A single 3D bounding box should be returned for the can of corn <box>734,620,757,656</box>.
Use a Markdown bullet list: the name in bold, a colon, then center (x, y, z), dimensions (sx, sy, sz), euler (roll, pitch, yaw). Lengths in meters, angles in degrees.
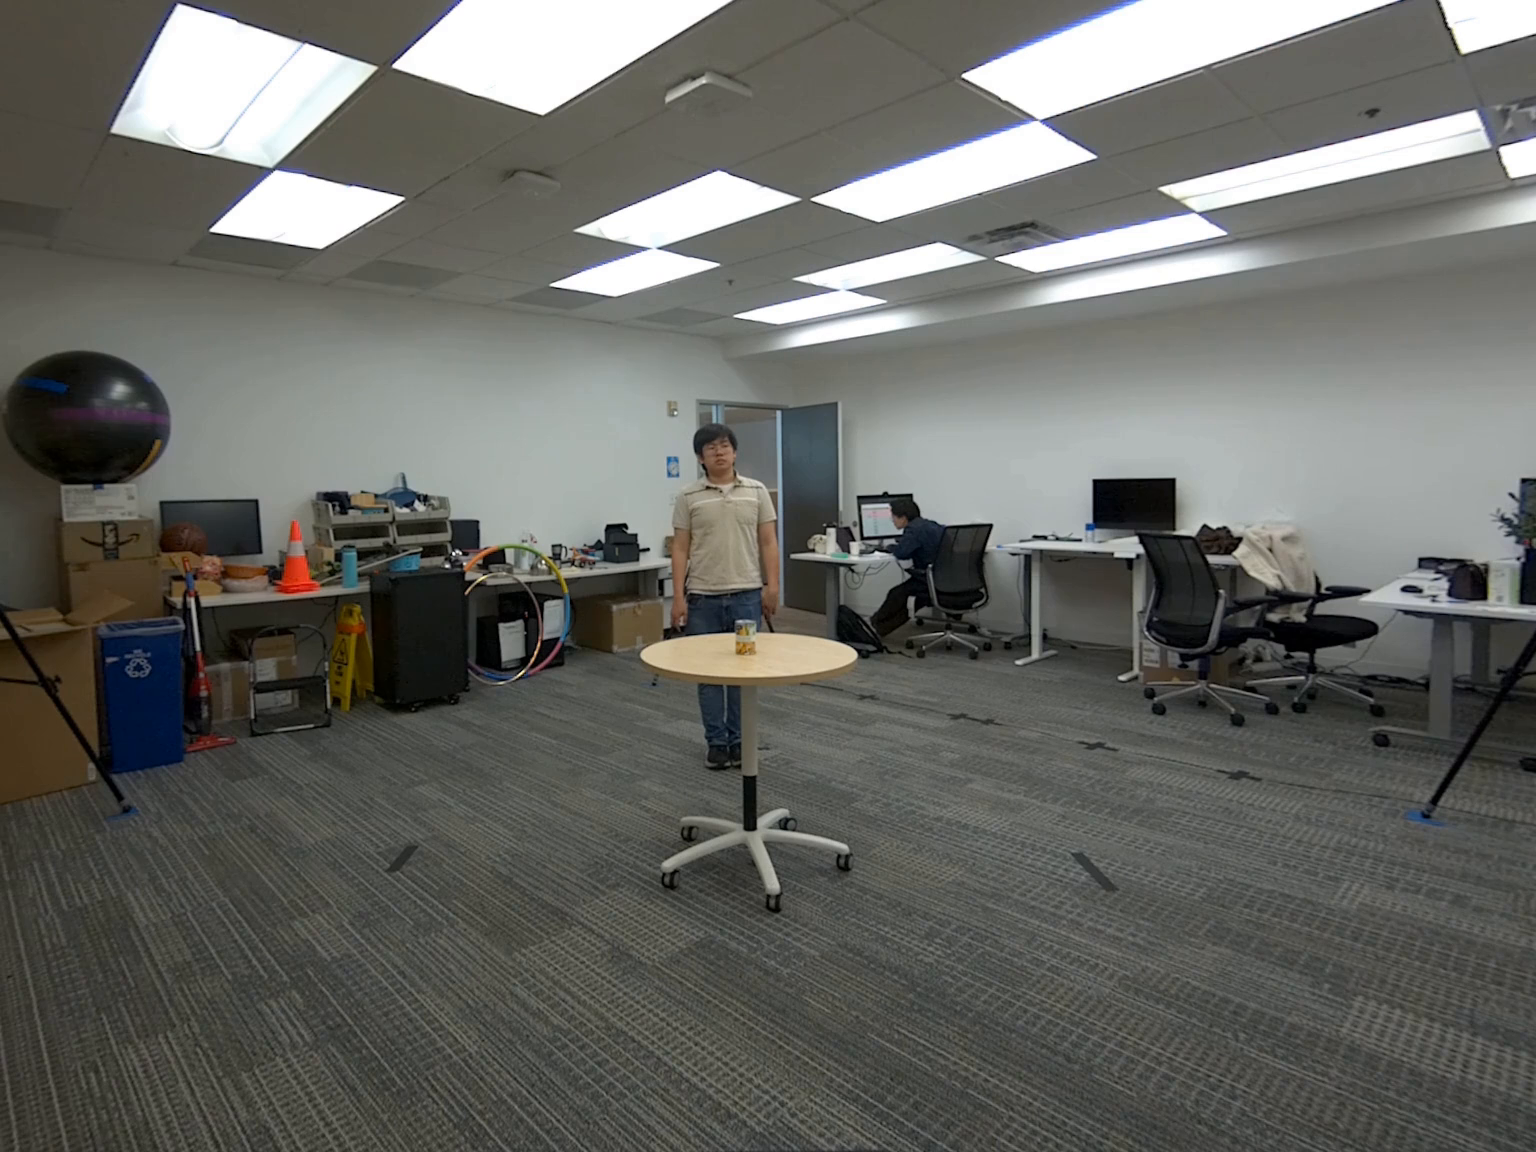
- **can of corn**: center (-0.075, 0.221, 3.012), dimensions (0.074, 0.110, 0.074), euler (0, 4, -2)
